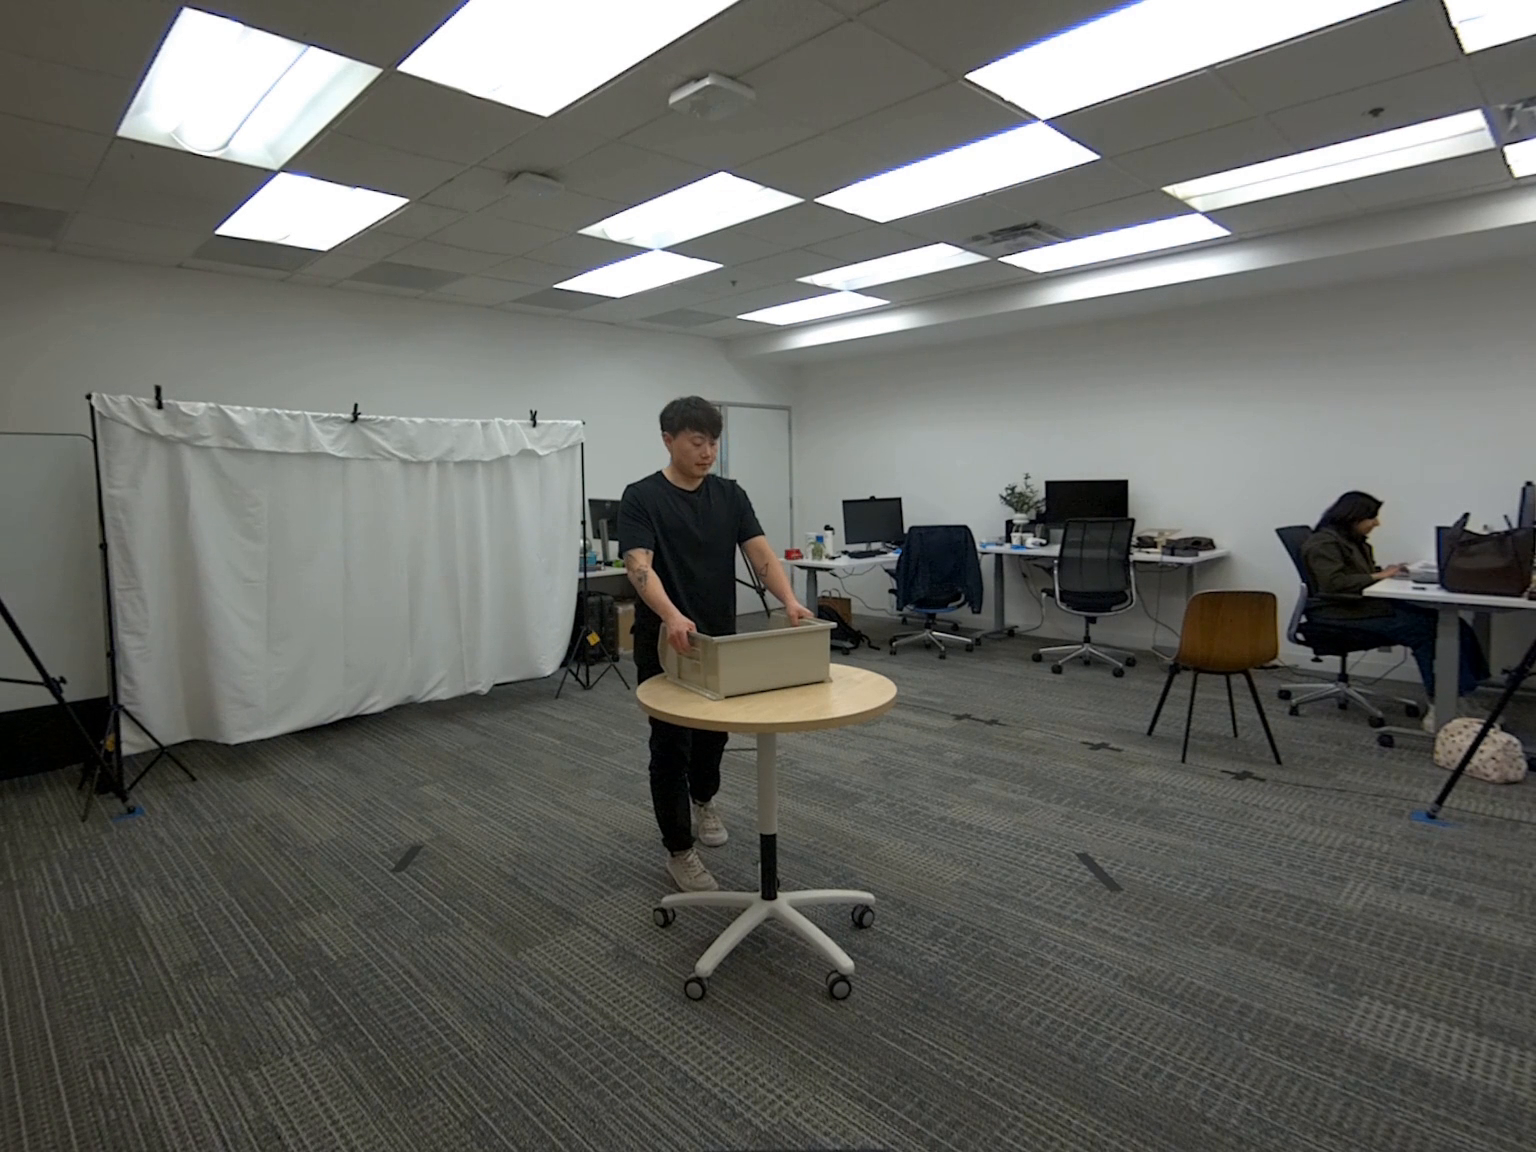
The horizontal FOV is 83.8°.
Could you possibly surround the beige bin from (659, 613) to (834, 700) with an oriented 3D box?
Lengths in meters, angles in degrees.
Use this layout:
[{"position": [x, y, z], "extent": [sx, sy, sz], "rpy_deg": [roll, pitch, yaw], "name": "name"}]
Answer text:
[{"position": [-0.071, 0.232, 2.626], "extent": [0.412, 0.188, 0.388], "rpy_deg": [-4, 8, -31], "name": "beige bin"}]
